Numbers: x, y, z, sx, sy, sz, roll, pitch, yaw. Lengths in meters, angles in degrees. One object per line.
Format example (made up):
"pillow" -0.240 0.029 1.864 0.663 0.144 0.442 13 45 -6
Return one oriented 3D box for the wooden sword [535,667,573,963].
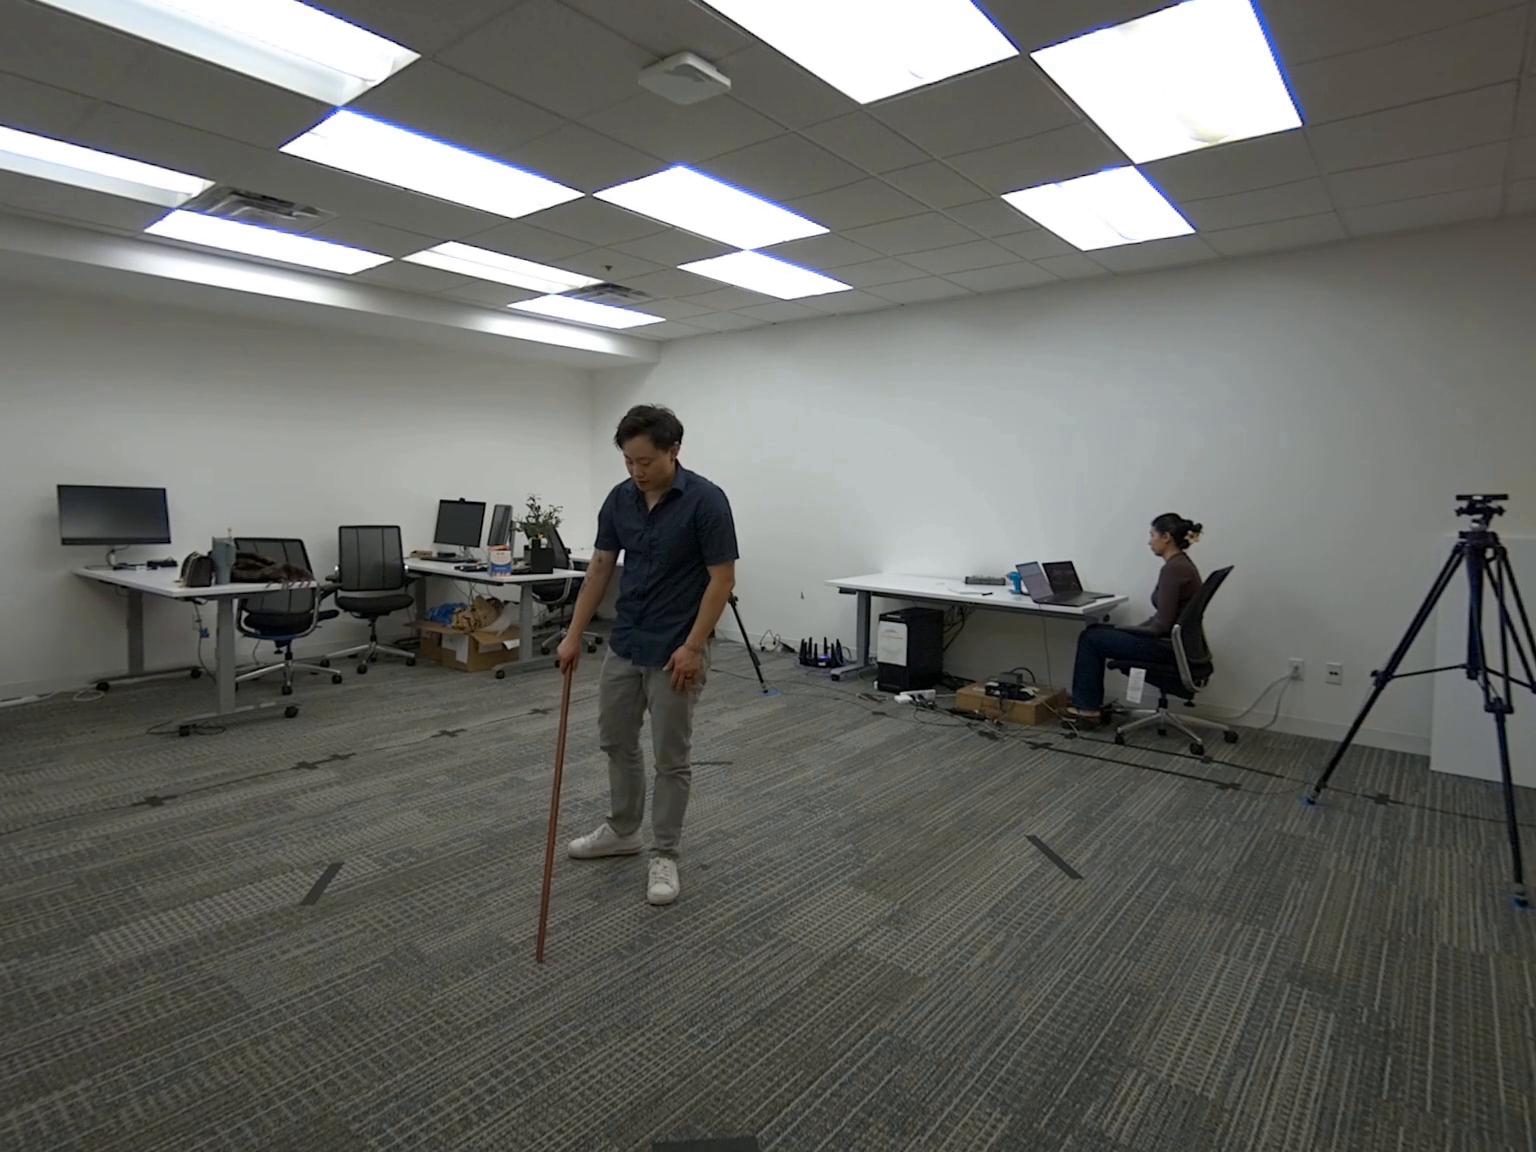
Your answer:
"wooden sword" -0.697 0.688 2.767 0.052 1.053 0.023 -15 -34 18
